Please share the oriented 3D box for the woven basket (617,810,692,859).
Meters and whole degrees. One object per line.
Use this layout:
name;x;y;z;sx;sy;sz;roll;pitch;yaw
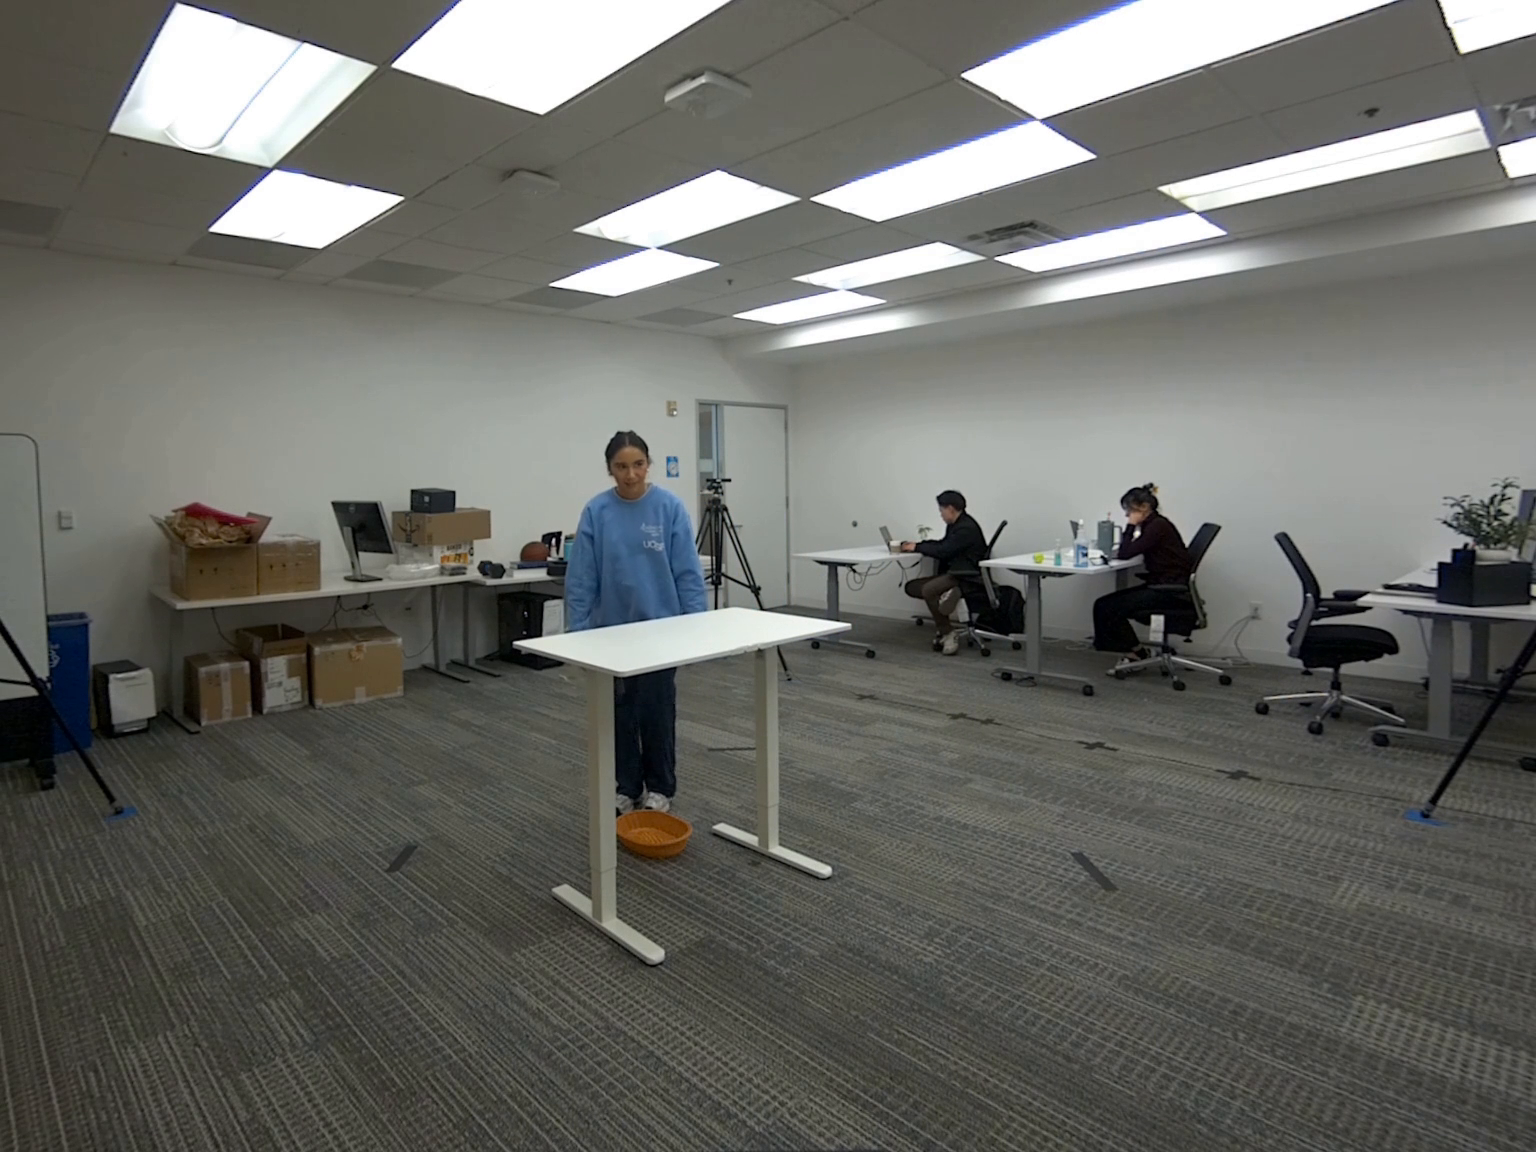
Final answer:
woven basket;-0.440;0.988;3.274;0.246;0.073;0.361;-8;10;-41
